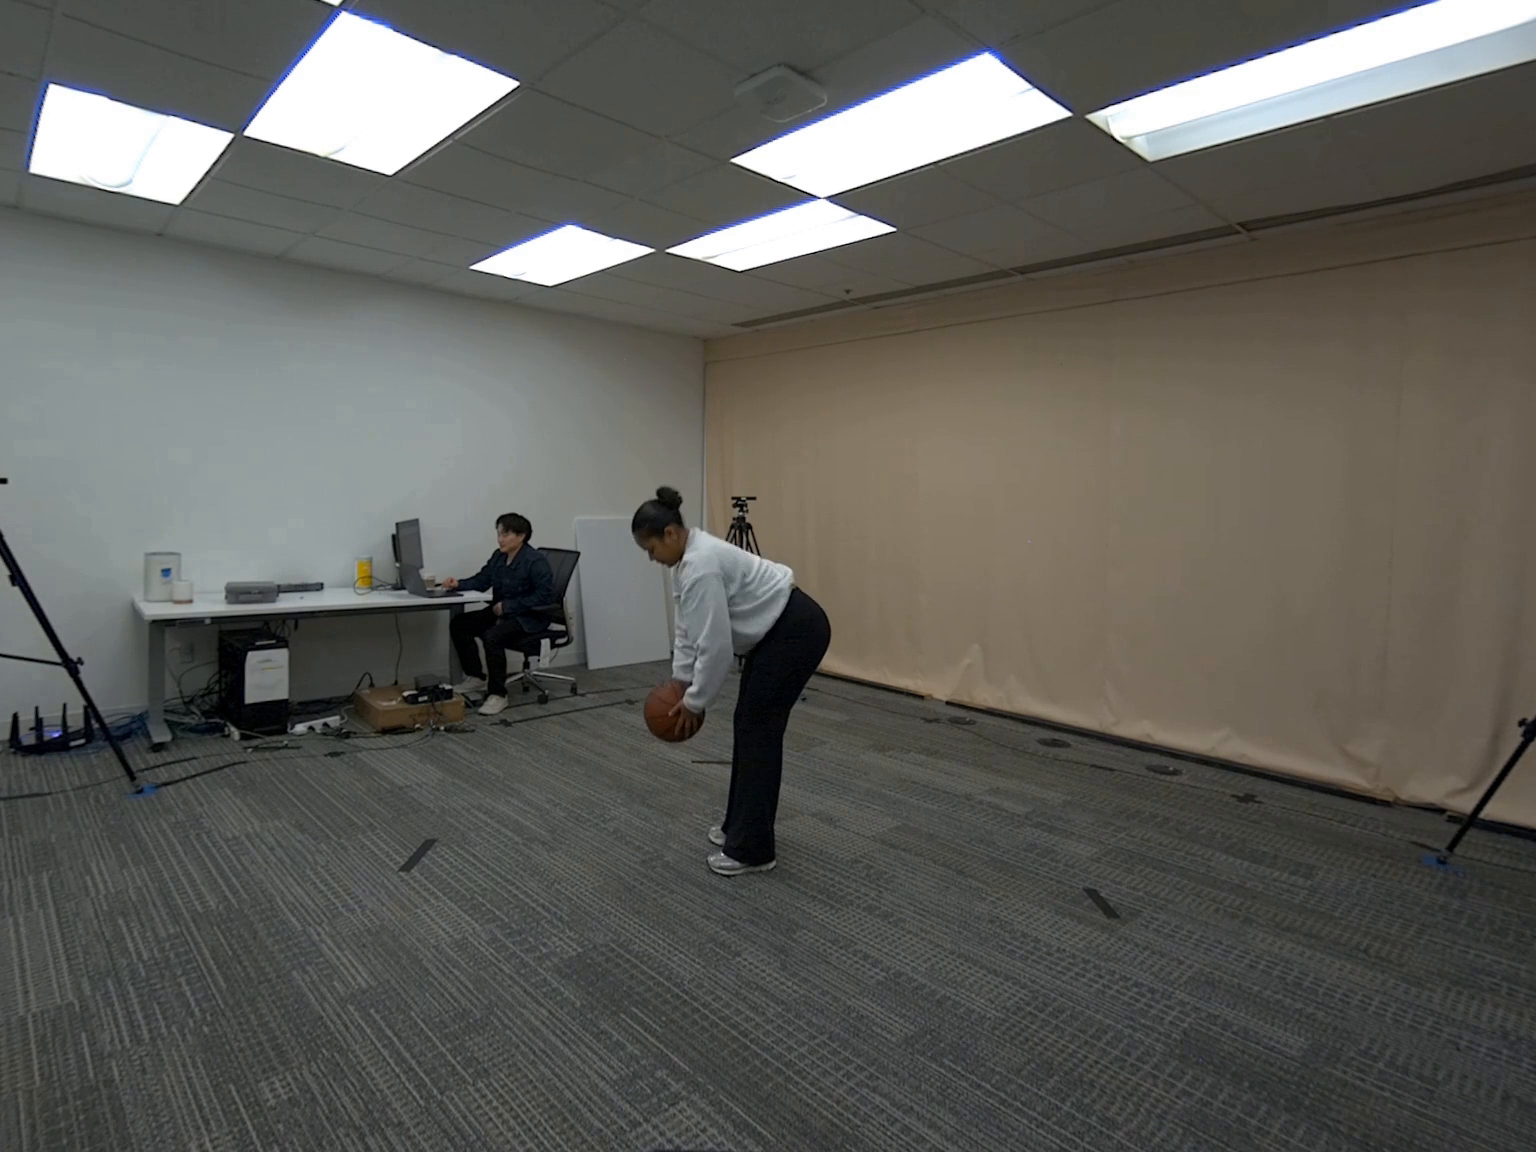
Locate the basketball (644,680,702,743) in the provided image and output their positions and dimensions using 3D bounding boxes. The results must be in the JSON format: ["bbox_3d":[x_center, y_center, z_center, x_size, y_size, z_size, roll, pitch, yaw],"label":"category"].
[{"bbox_3d":[-0.367,0.523,3.239,0.236,0.235,0.237,1,4,-1],"label":"basketball"}]
